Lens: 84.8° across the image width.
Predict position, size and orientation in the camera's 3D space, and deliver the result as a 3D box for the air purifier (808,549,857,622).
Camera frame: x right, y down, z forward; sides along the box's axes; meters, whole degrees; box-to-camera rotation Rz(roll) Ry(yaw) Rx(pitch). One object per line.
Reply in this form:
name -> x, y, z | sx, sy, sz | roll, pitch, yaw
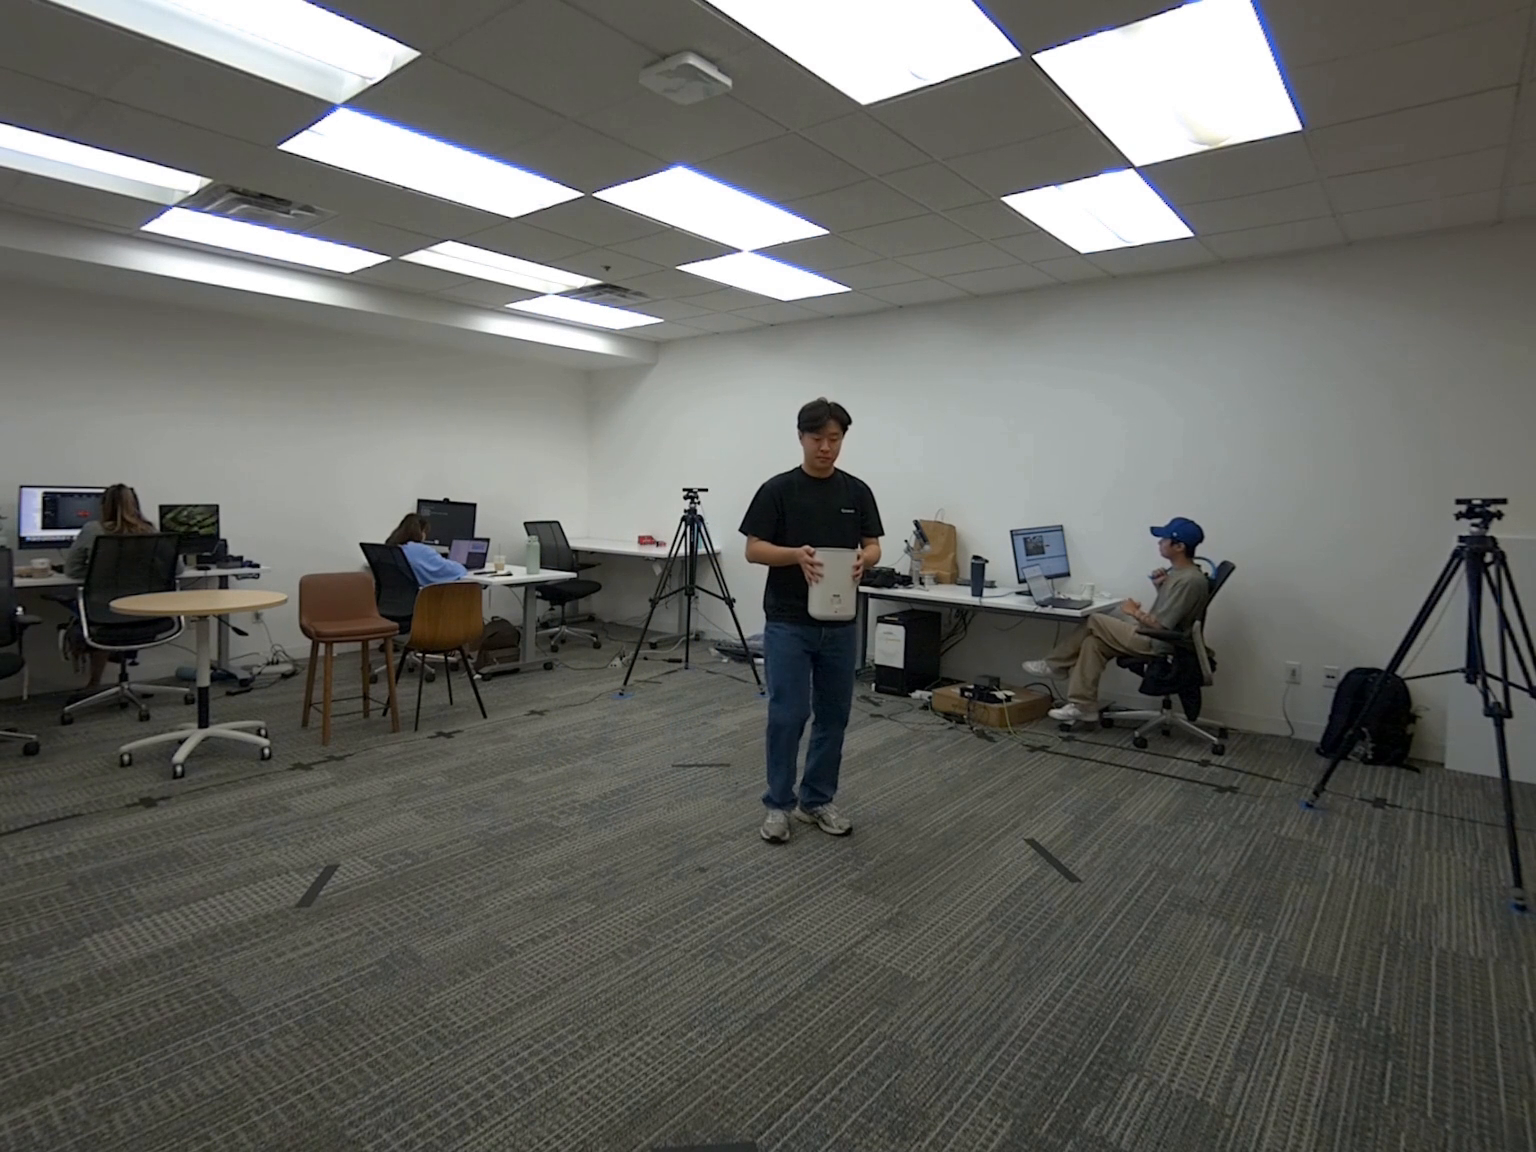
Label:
air purifier -> 0.226, 0.026, 3.233 | 0.170, 0.265, 0.173 | 4, 3, -5
